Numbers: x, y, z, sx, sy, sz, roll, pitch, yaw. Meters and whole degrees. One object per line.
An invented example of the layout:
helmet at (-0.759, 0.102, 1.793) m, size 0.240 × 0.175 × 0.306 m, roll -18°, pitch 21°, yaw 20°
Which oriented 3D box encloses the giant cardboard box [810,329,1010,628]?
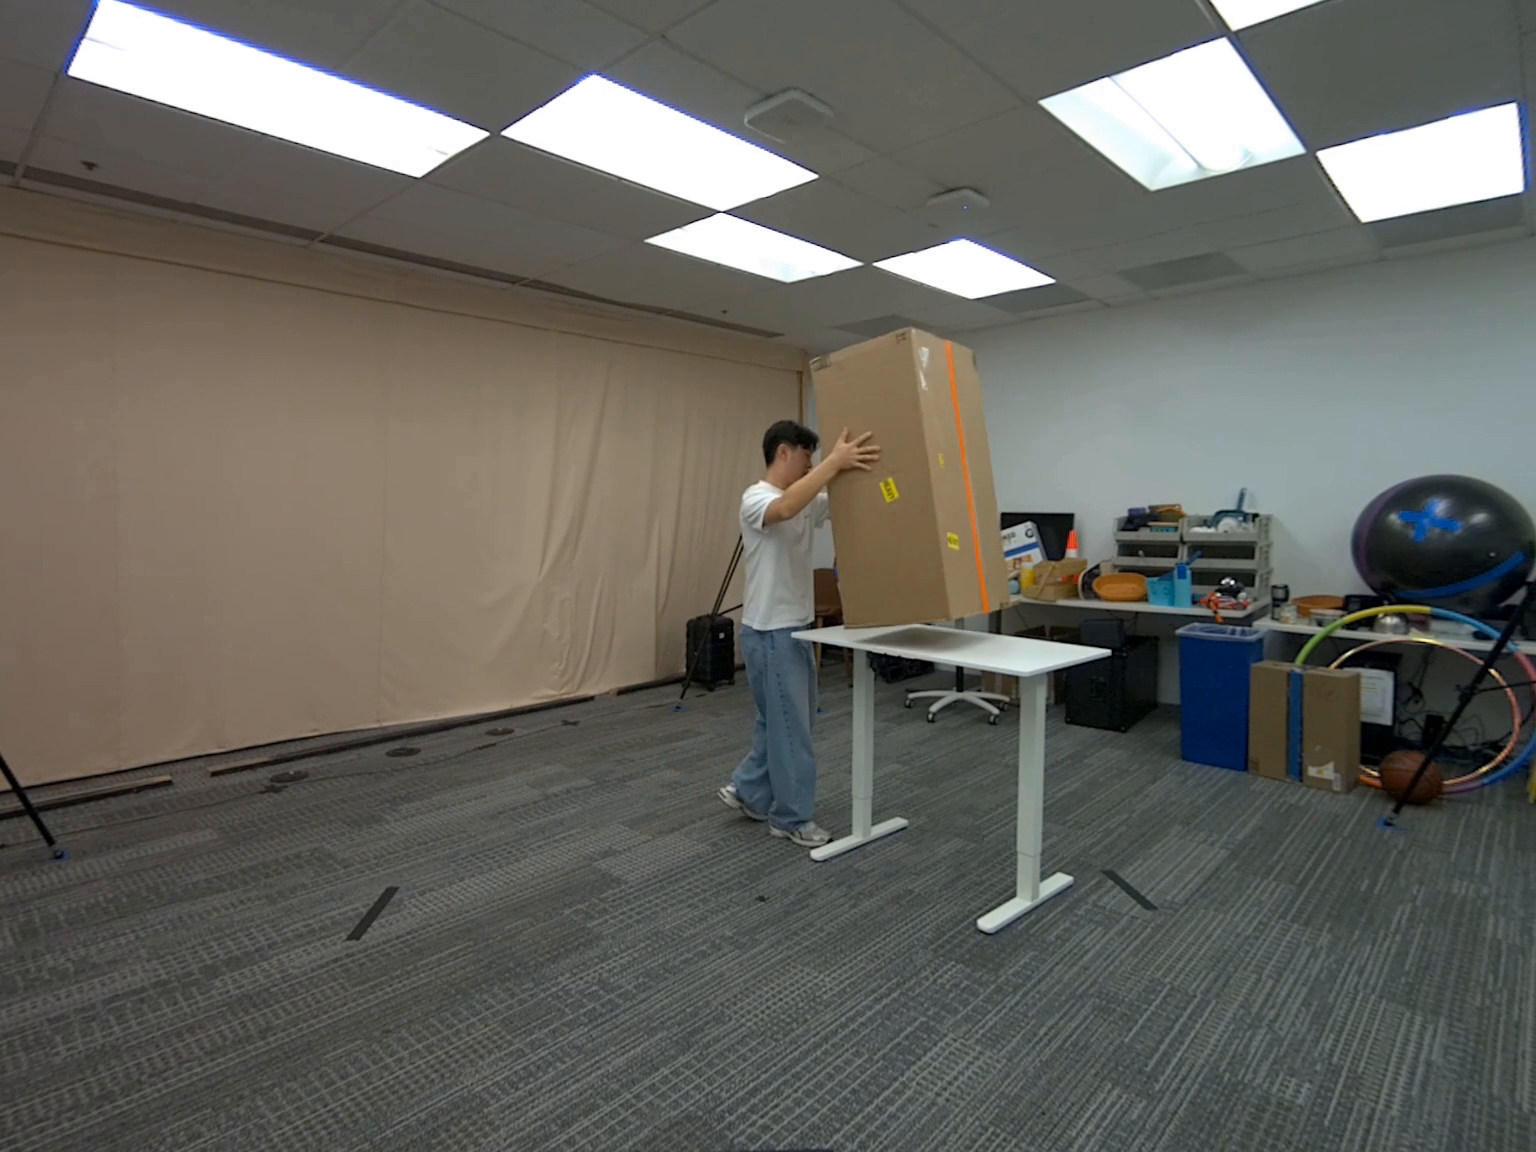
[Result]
giant cardboard box at (0.558, -0.343, 3.230) m, size 0.438 × 1.029 × 0.560 m, roll -10°, pitch -5°, yaw 38°
